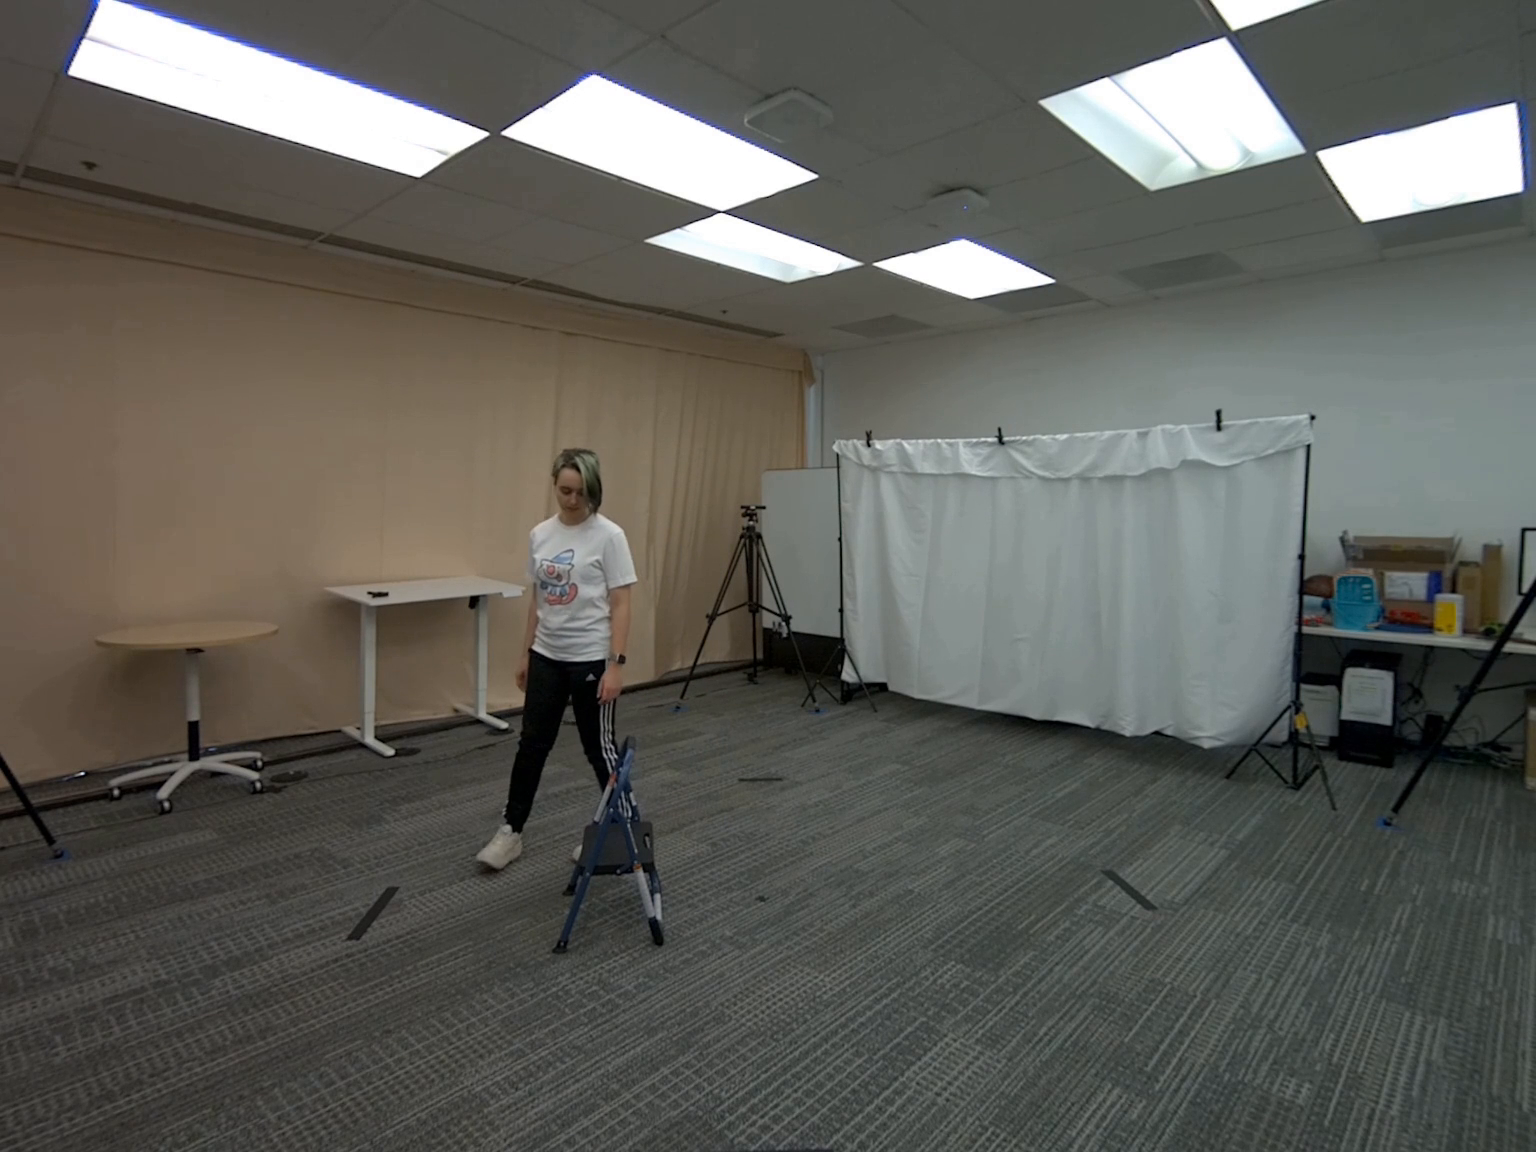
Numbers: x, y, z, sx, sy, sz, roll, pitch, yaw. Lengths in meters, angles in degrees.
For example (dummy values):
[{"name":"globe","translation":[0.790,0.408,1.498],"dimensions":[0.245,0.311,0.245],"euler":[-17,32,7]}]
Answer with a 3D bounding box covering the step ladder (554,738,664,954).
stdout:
[{"name":"step ladder","translation":[-0.534,0.860,2.836],"dimensions":[0.346,0.605,0.435],"euler":[-1,3,-8]}]
